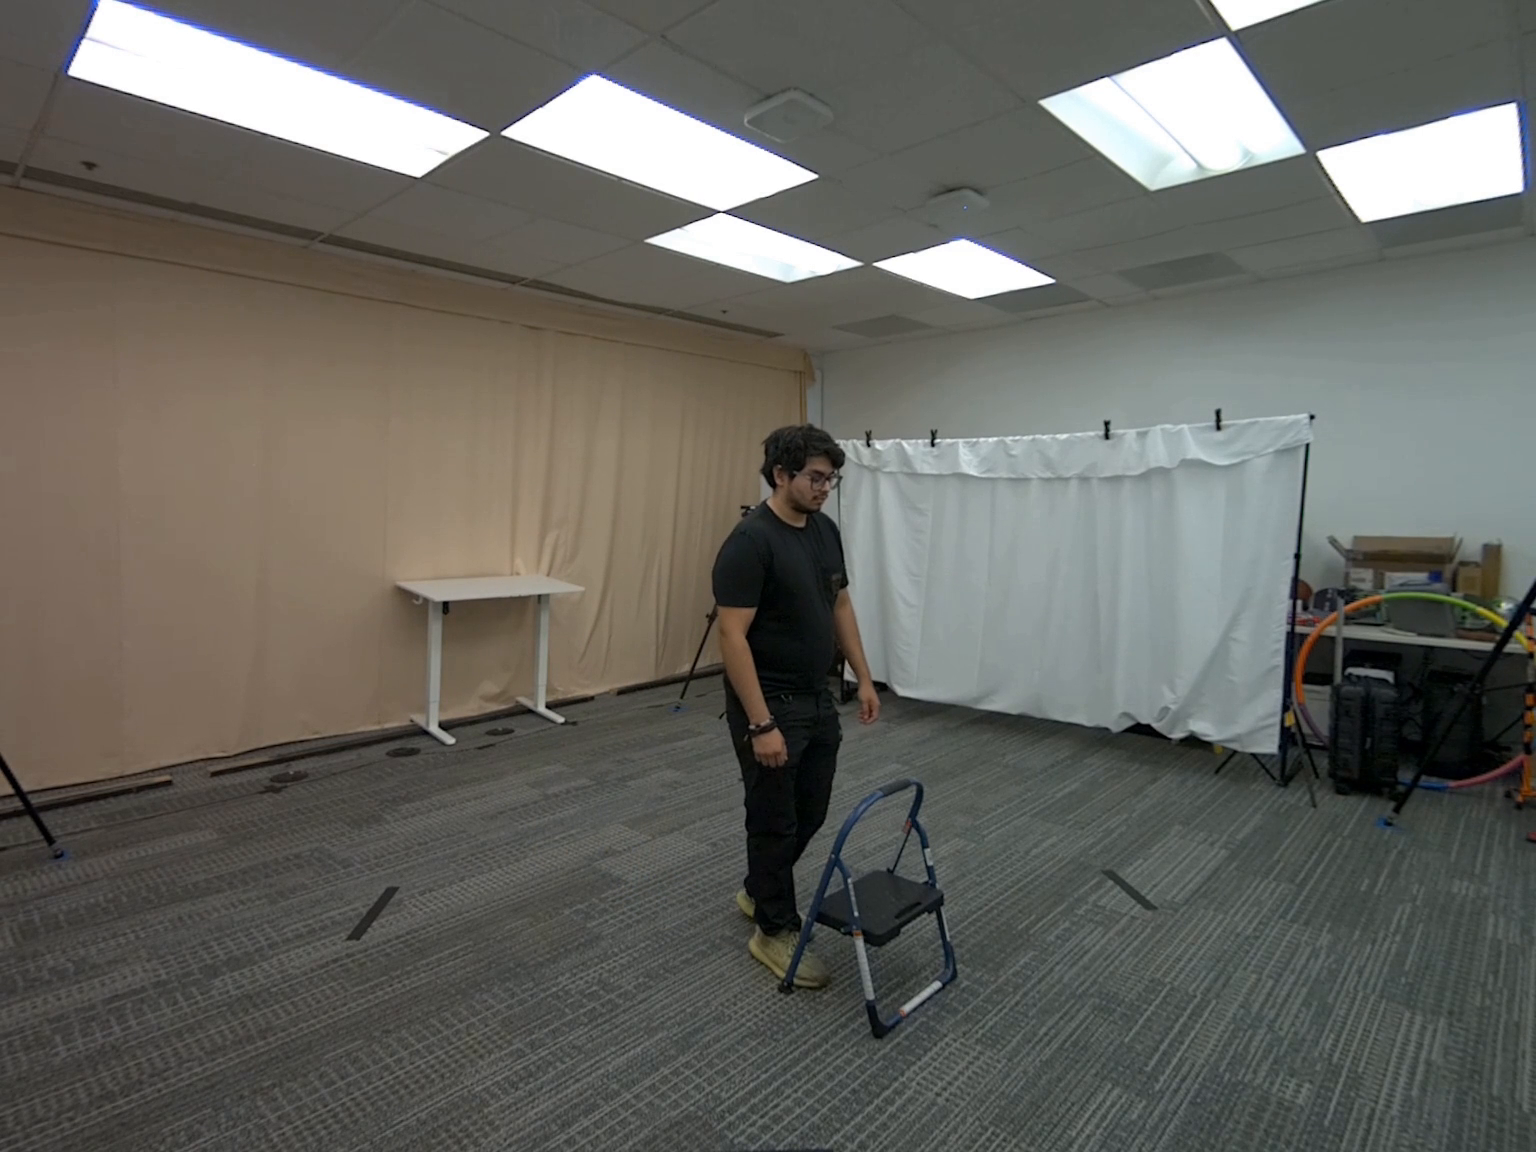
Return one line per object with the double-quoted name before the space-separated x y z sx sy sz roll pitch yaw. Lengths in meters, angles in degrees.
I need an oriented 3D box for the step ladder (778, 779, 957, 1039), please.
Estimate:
"step ladder" 0.304 0.889 2.432 0.361 0.605 0.417 3 5 42
